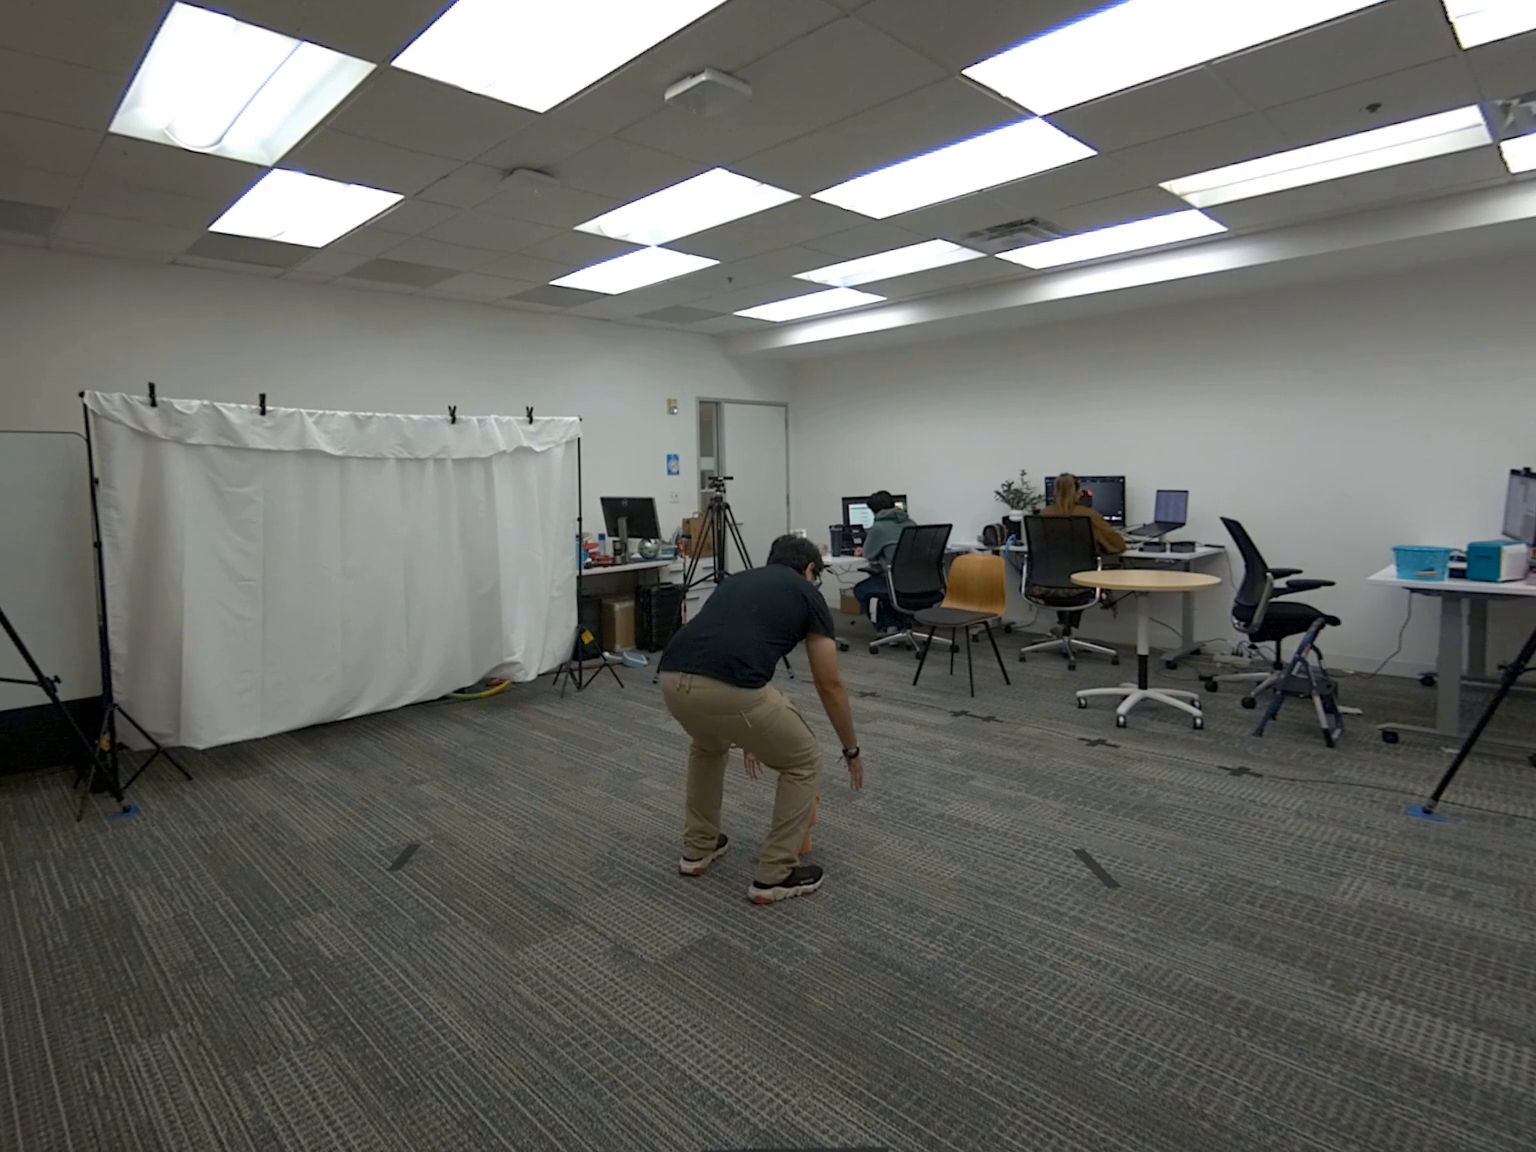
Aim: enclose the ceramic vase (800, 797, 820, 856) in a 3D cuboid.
[{"bbox_3d":[0.122,0.910,3.198,0.159,0.219,0.134,0,4,4],"label":"ceramic vase"}]
